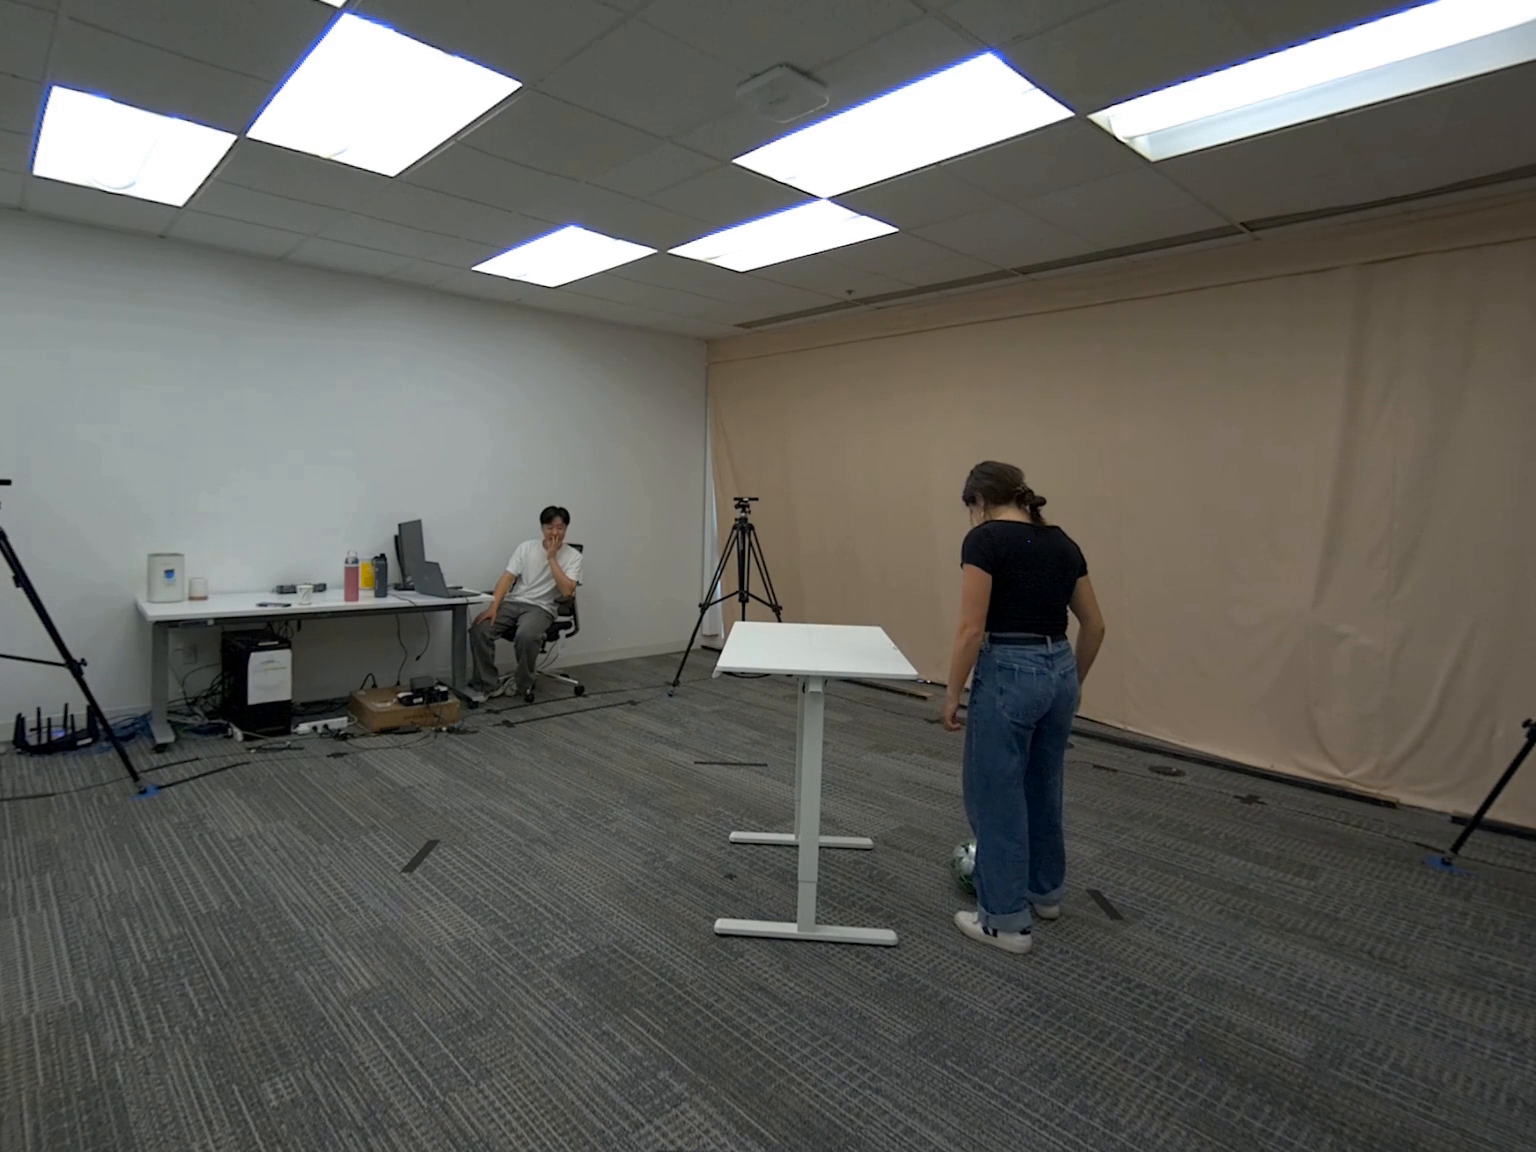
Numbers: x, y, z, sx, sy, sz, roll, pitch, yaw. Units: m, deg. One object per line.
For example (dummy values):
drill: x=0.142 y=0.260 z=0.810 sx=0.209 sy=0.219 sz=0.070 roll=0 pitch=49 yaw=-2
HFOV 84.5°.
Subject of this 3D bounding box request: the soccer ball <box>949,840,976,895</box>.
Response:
soccer ball: x=0.736 y=1.052 z=3.024 sx=0.187 sy=0.187 sz=0.188 roll=1 pitch=4 yaw=-1
